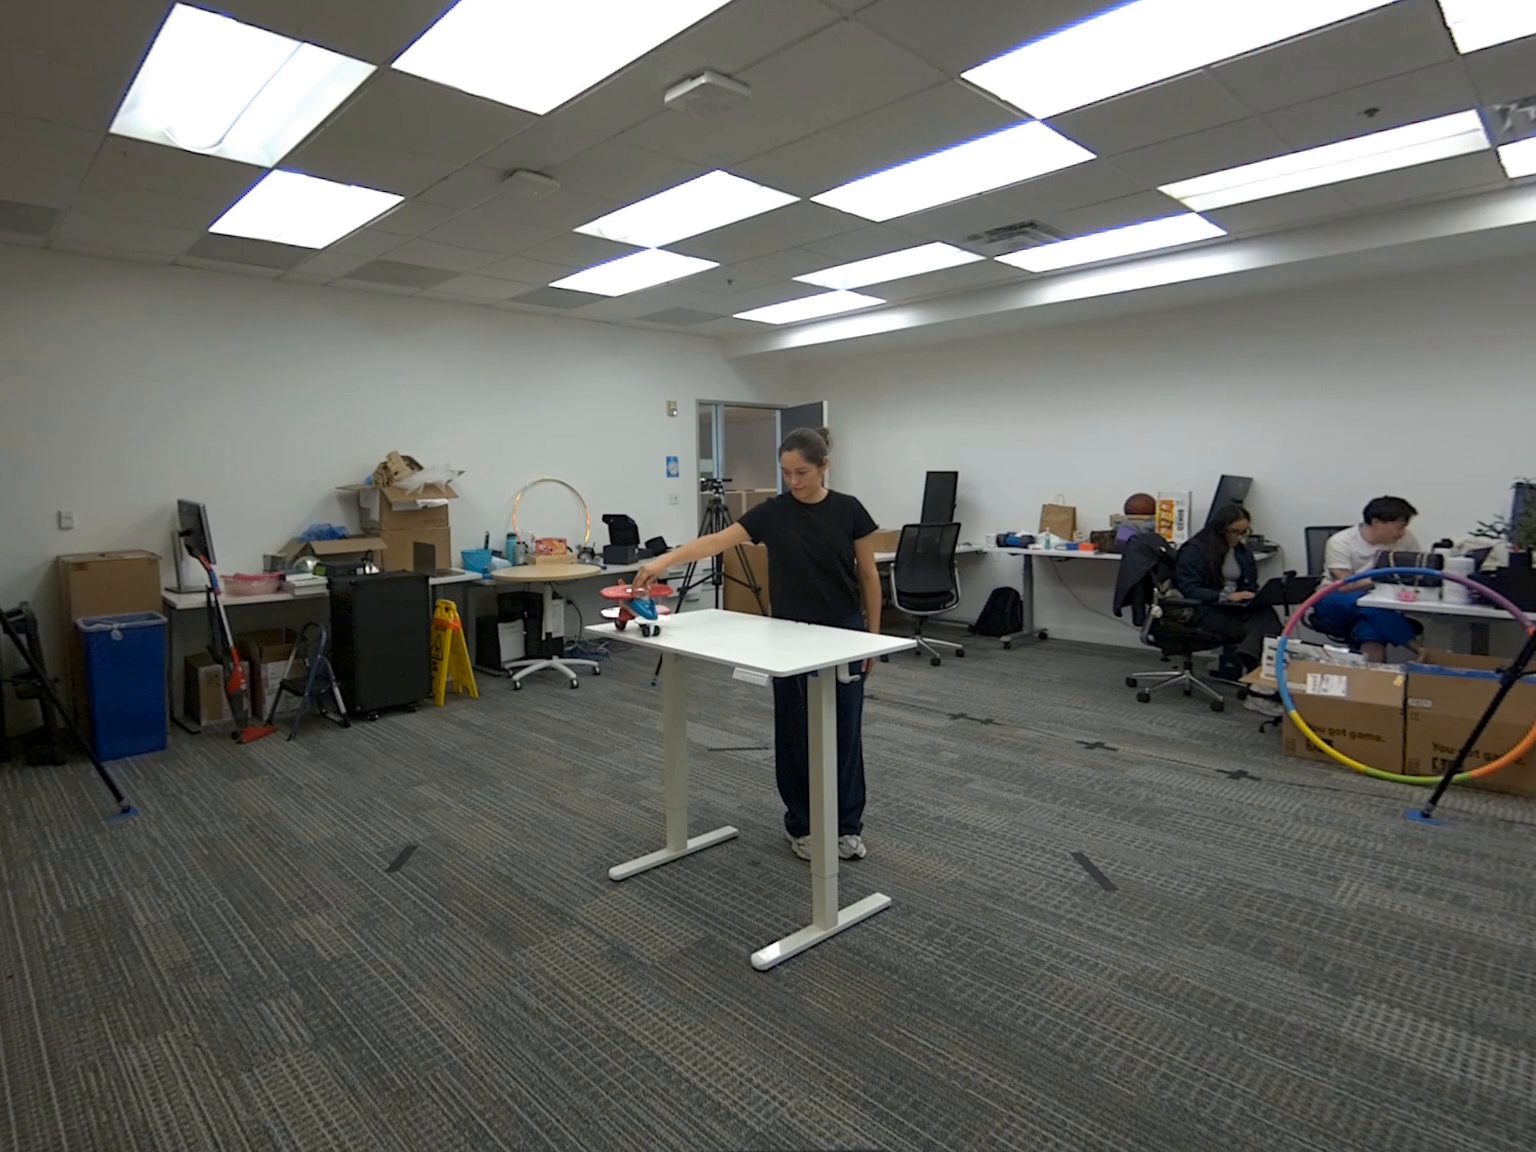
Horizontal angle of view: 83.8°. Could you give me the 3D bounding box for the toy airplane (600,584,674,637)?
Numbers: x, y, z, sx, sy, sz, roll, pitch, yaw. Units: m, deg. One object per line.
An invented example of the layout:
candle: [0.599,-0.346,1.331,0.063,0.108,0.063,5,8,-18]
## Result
toy airplane: [-0.418,0.114,2.927,0.266,0.156,0.245,2,6,34]
